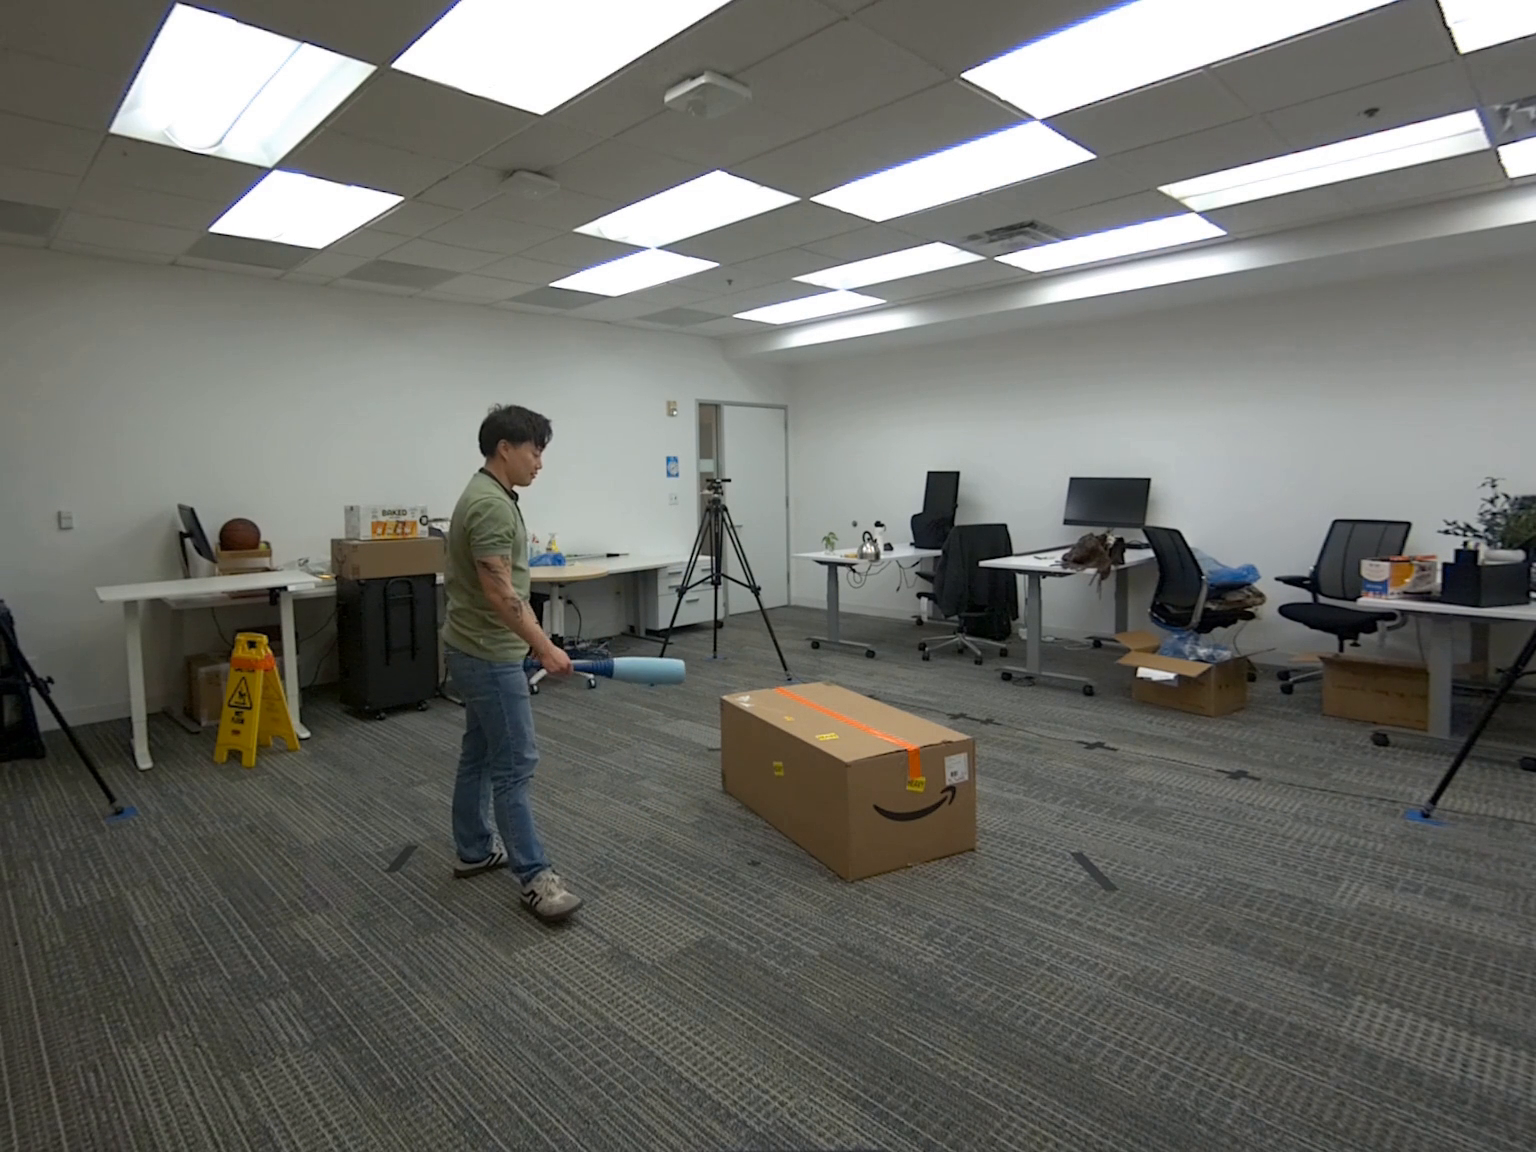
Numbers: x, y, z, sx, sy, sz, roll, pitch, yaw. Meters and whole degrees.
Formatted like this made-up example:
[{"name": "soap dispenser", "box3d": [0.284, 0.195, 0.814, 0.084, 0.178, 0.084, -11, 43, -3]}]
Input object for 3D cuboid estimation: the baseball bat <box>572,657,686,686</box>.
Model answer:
[{"name": "baseball bat", "box3d": [-0.544, 0.307, 2.855, 0.534, 0.089, 0.090, 4, 3, -16]}]
